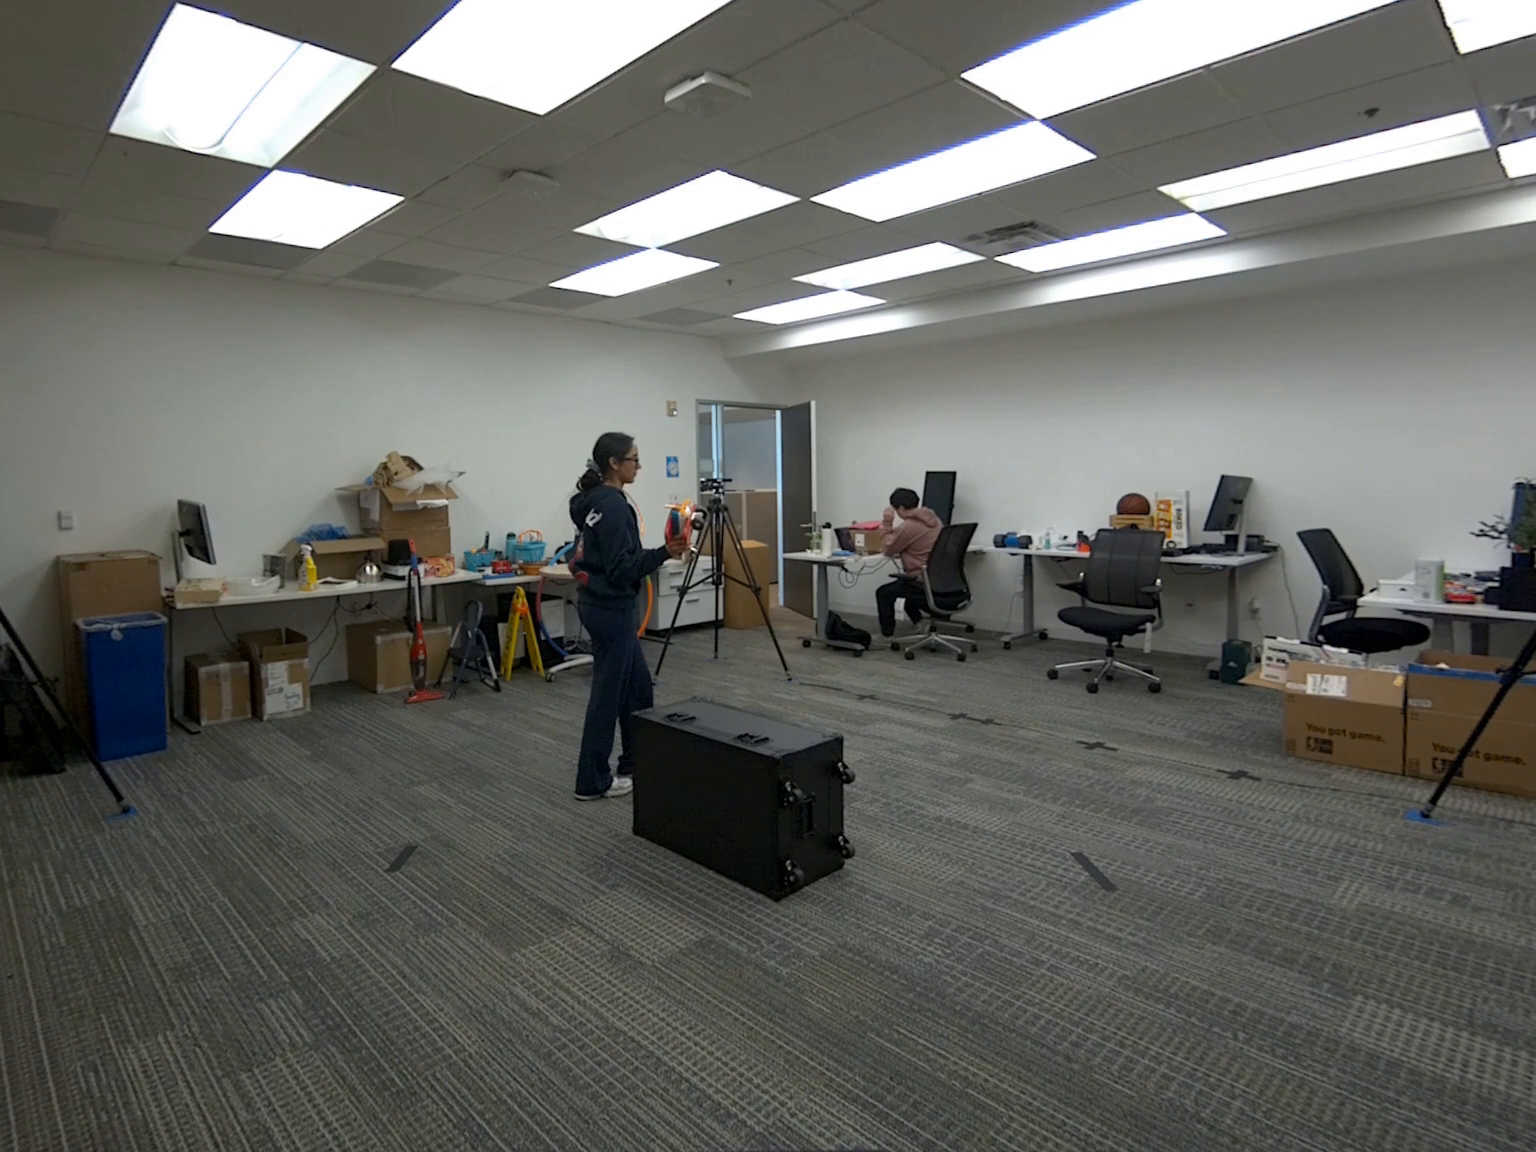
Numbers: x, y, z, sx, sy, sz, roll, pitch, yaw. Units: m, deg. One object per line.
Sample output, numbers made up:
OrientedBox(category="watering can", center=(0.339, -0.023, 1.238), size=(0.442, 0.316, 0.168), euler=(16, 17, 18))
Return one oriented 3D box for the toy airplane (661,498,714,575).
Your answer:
OrientedBox(category="toy airplane", center=(-0.343, -0.173, 3.581), size=(0.156, 0.258, 0.252), euler=(13, 9, -1))
